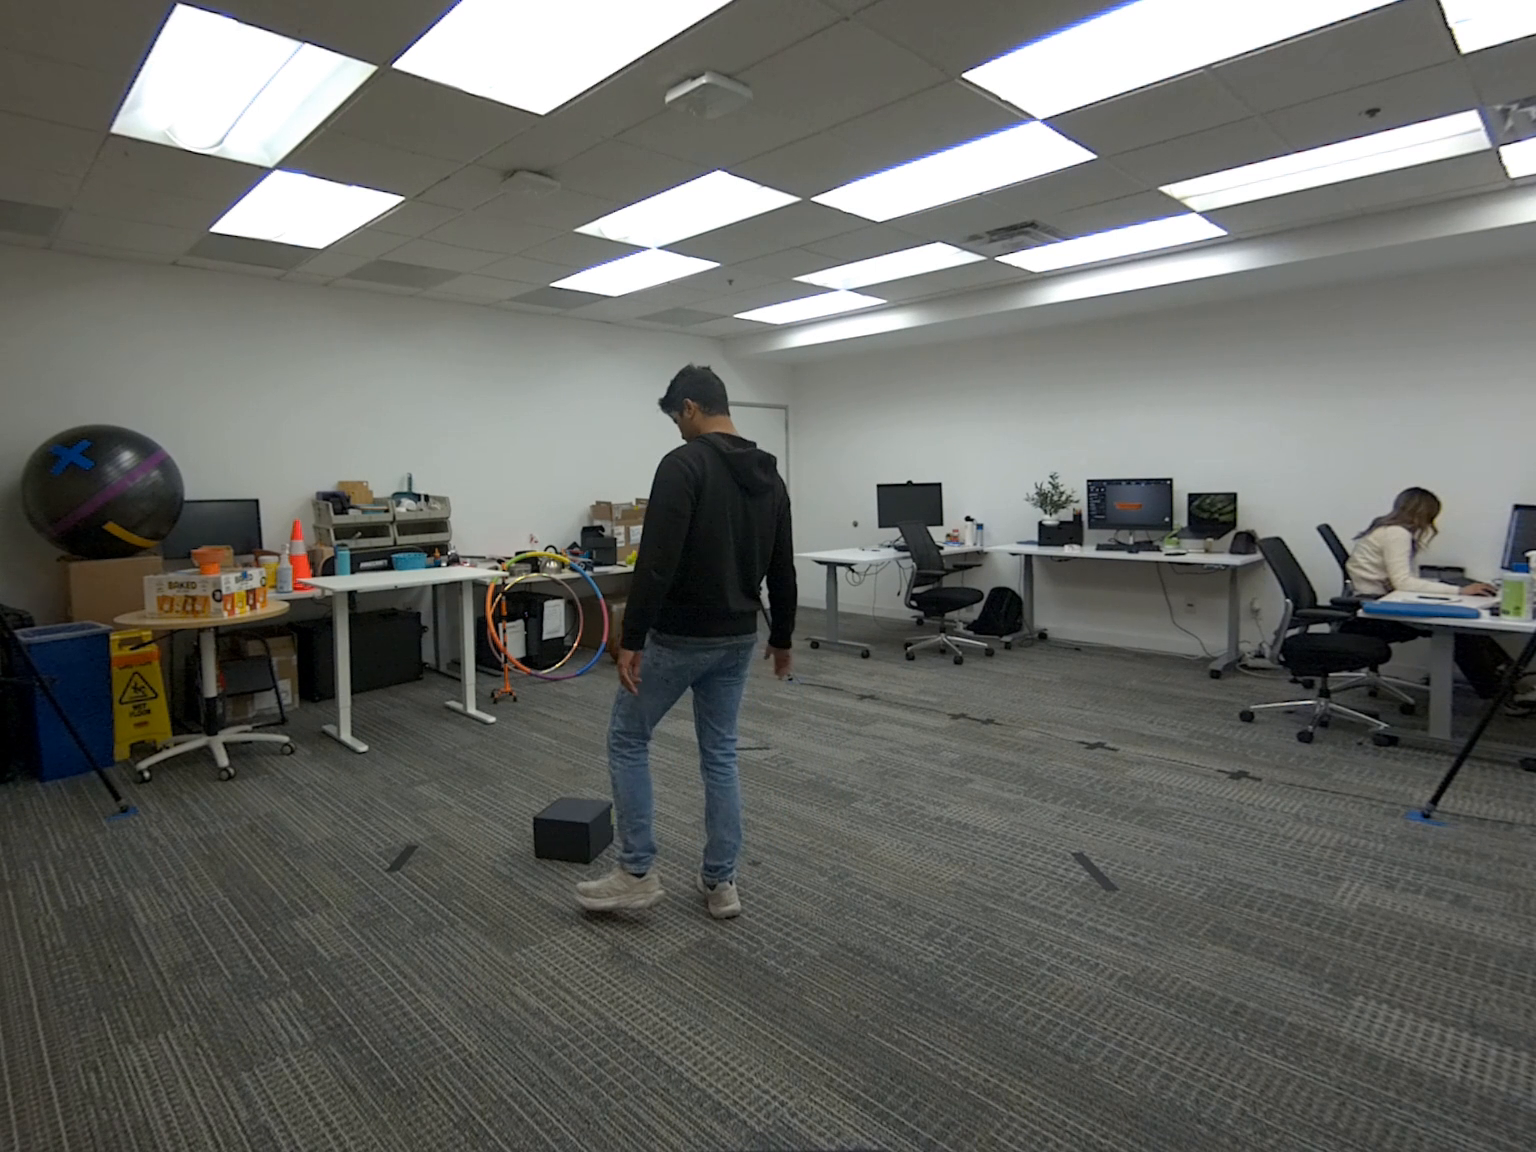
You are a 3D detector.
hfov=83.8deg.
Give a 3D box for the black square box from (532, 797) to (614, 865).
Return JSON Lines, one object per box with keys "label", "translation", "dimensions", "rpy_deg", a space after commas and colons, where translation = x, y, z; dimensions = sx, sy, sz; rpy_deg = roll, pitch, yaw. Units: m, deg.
{"label": "black square box", "translation": [-0.722, 0.956, 3.234], "dimensions": [0.232, 0.155, 0.214], "rpy_deg": [1, 5, 17]}
